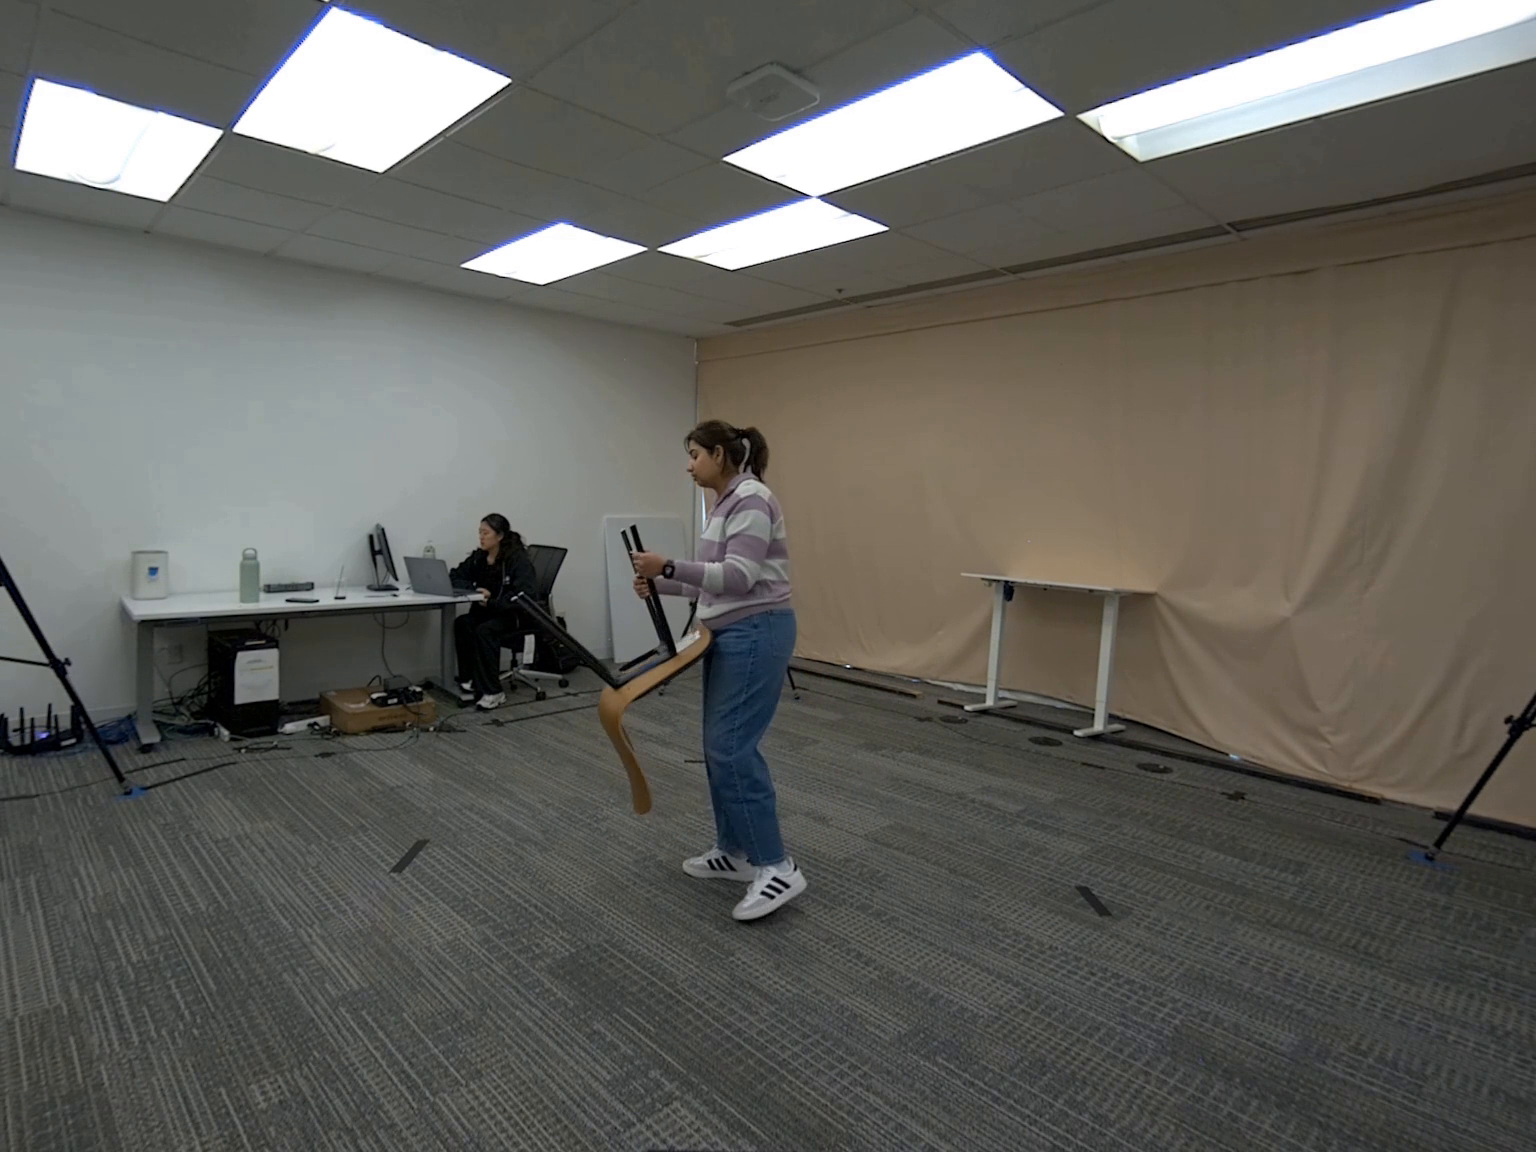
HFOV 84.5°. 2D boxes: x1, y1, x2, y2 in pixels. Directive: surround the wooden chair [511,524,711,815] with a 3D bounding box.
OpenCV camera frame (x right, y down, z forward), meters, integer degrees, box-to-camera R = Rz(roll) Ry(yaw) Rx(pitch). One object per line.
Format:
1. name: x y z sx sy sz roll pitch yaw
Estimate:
1. wooden chair: -0.441 0.310 2.921 0.521 0.874 0.482 -29 5 -12
